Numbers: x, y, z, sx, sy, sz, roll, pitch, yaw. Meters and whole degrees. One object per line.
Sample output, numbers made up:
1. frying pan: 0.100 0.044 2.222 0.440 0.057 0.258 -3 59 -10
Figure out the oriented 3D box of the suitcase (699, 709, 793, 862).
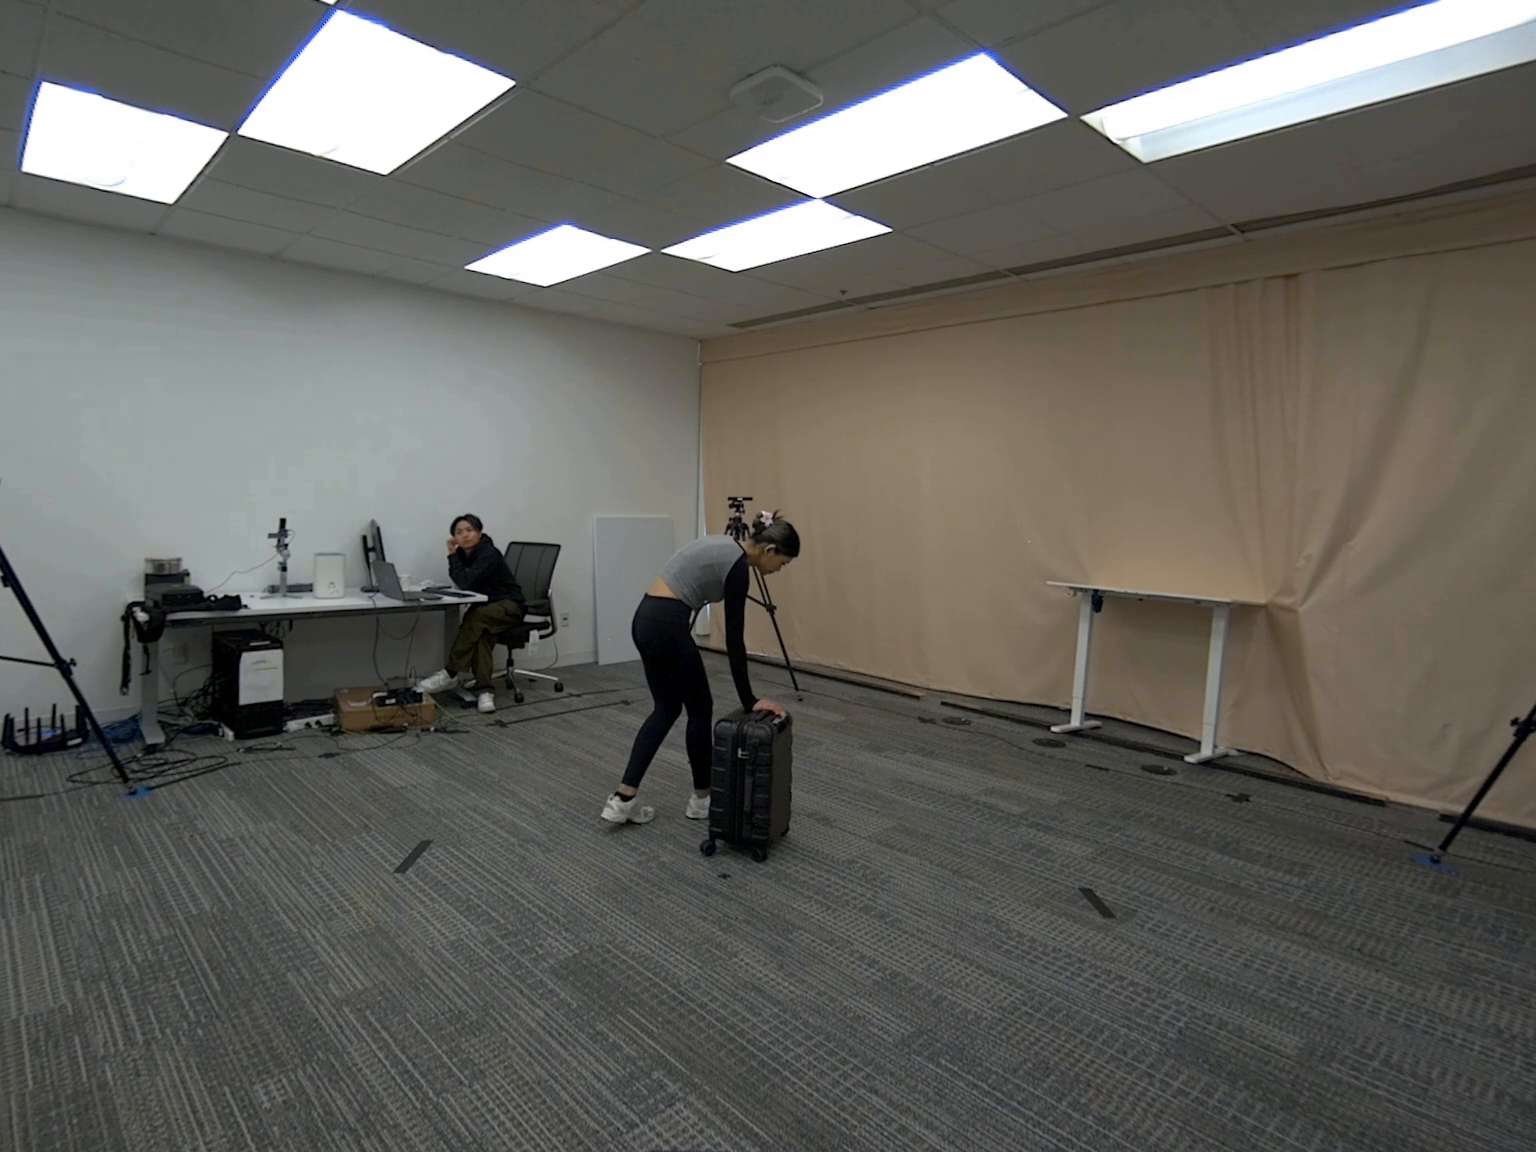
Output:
1. suitcase: -0.071 0.808 3.381 0.252 0.548 0.370 3 4 19
